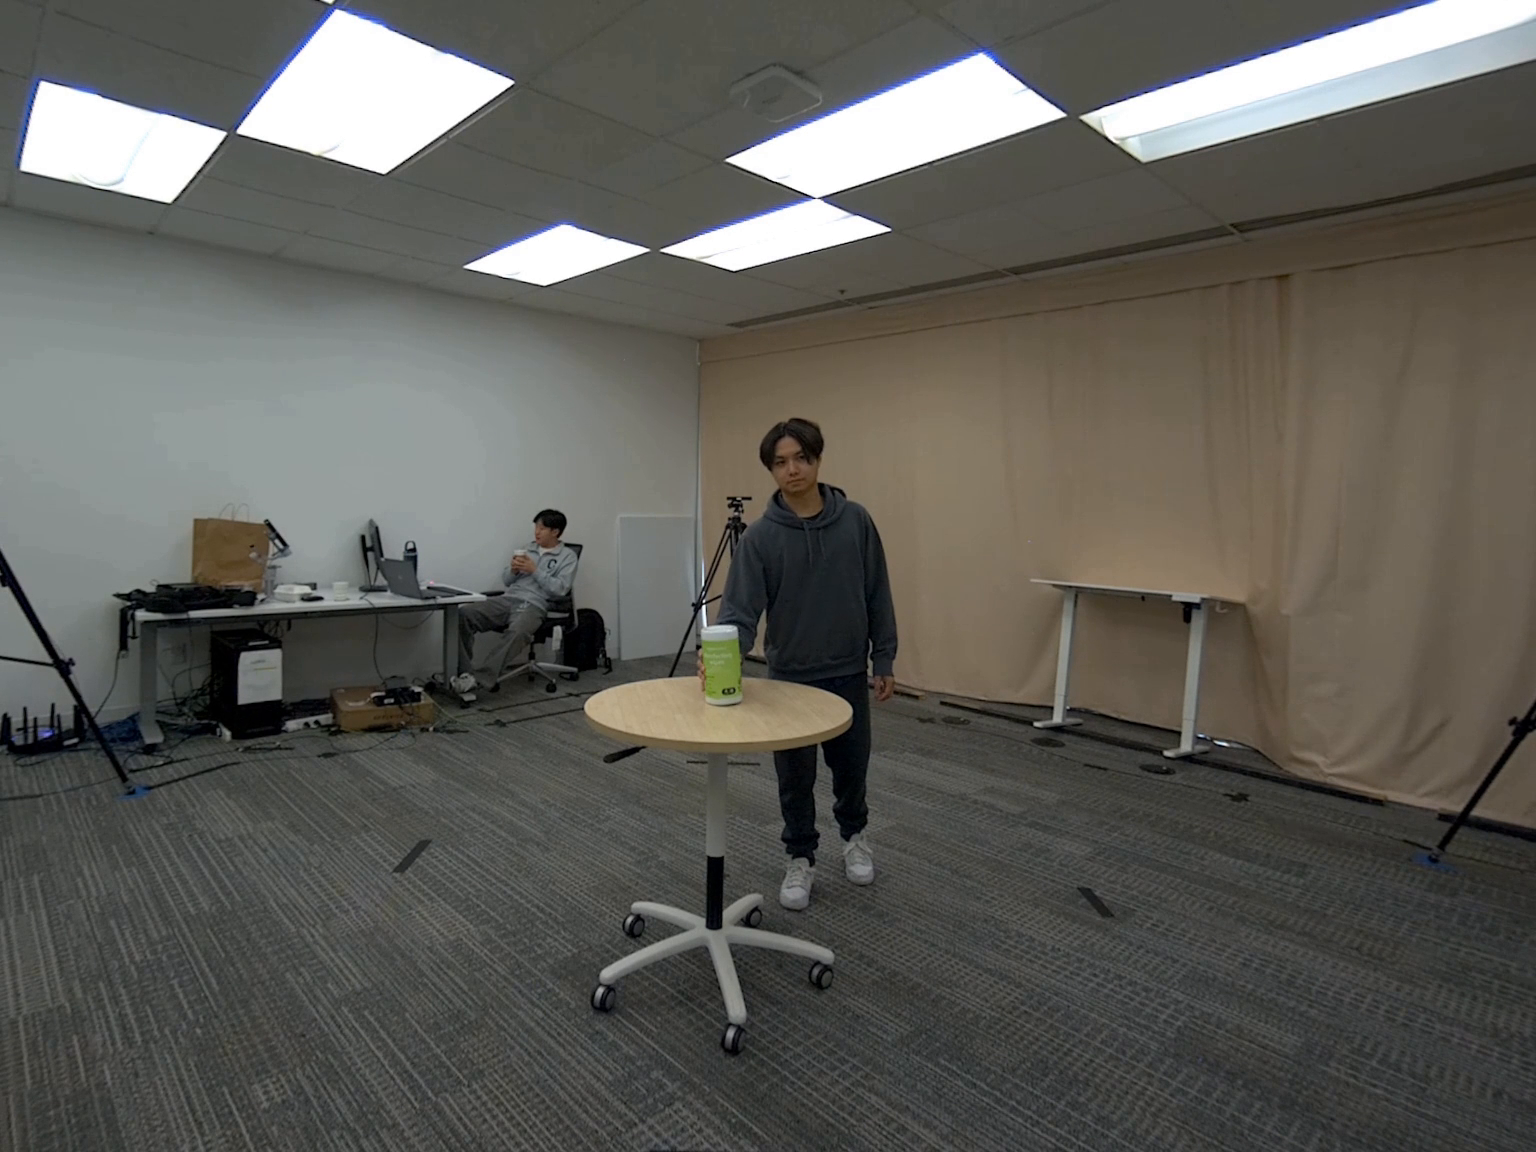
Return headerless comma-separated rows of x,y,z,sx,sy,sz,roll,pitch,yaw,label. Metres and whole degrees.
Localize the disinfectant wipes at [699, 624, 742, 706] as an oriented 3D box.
-0.143,0.261,2.441,0.118,0.217,0.118,-1,4,-1,disinfectant wipes
